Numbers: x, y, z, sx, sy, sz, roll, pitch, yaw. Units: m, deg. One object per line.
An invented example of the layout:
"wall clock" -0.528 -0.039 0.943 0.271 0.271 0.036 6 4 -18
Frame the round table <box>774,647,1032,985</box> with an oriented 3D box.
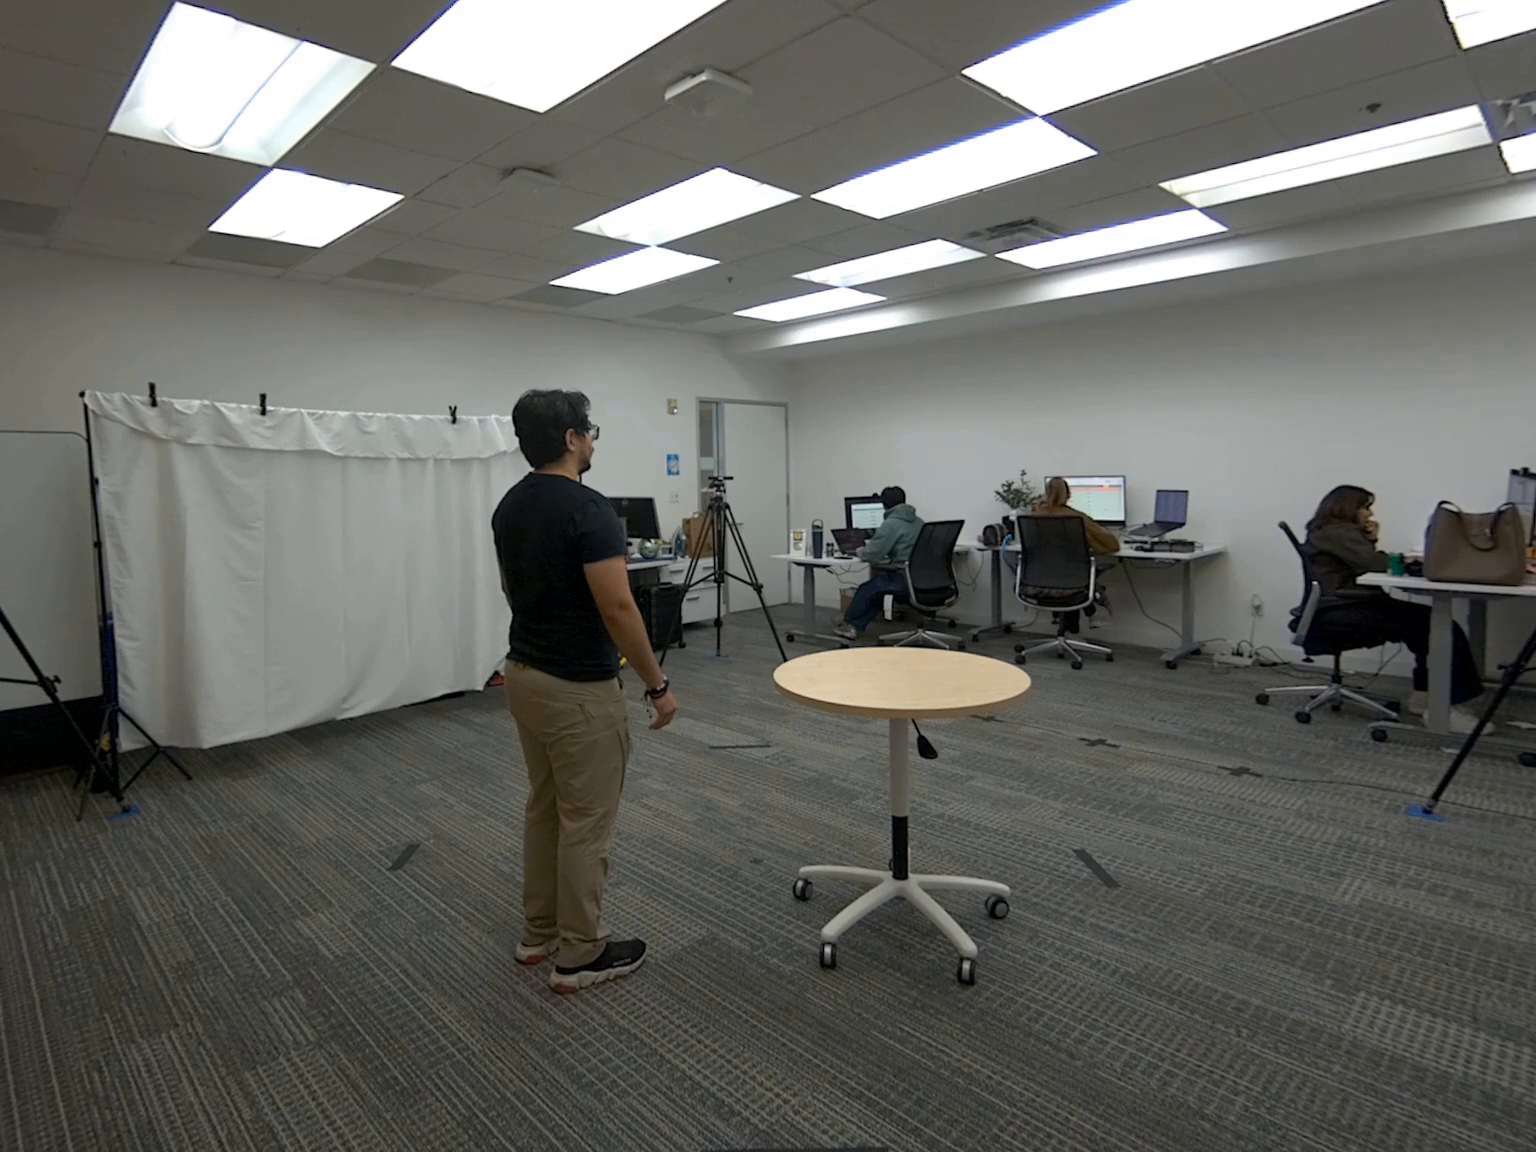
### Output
"round table" 0.413 0.687 2.658 0.784 0.783 0.790 -1 6 -2
